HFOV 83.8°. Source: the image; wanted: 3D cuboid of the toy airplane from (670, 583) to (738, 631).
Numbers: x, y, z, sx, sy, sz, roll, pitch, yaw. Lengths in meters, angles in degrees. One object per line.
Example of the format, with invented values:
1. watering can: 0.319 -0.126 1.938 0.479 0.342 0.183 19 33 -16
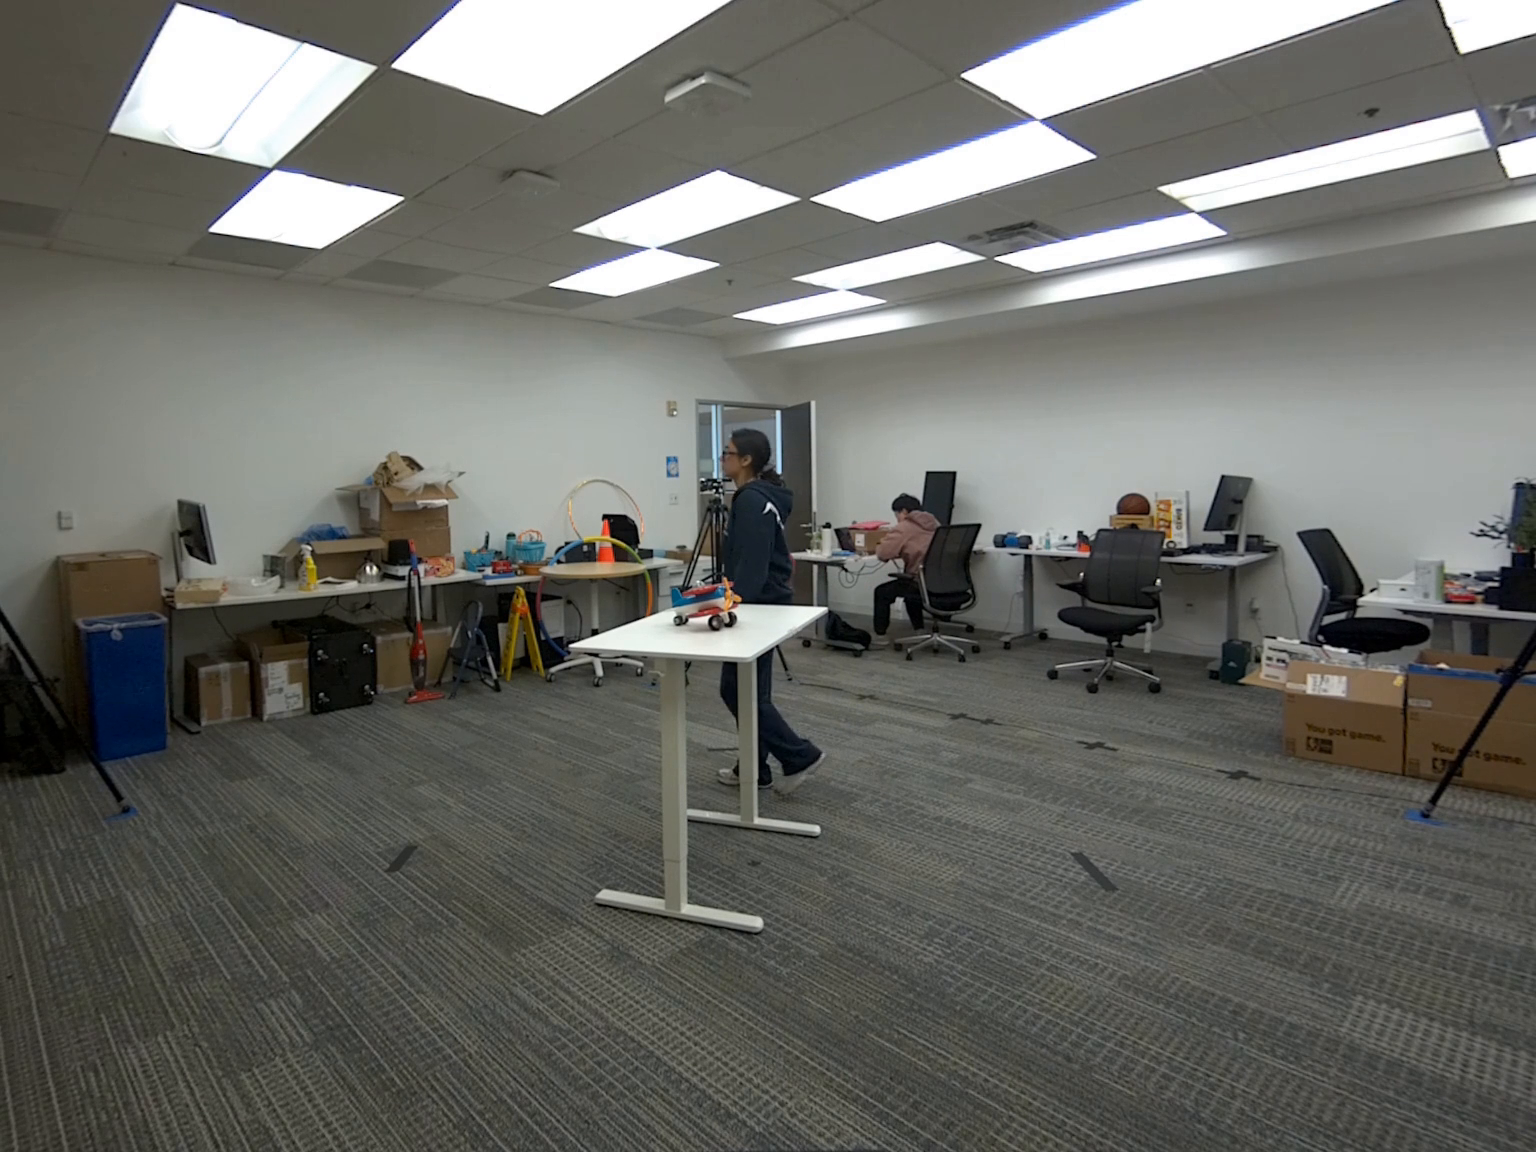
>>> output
1. toy airplane: -0.234 0.107 2.974 0.260 0.156 0.251 0 5 2
